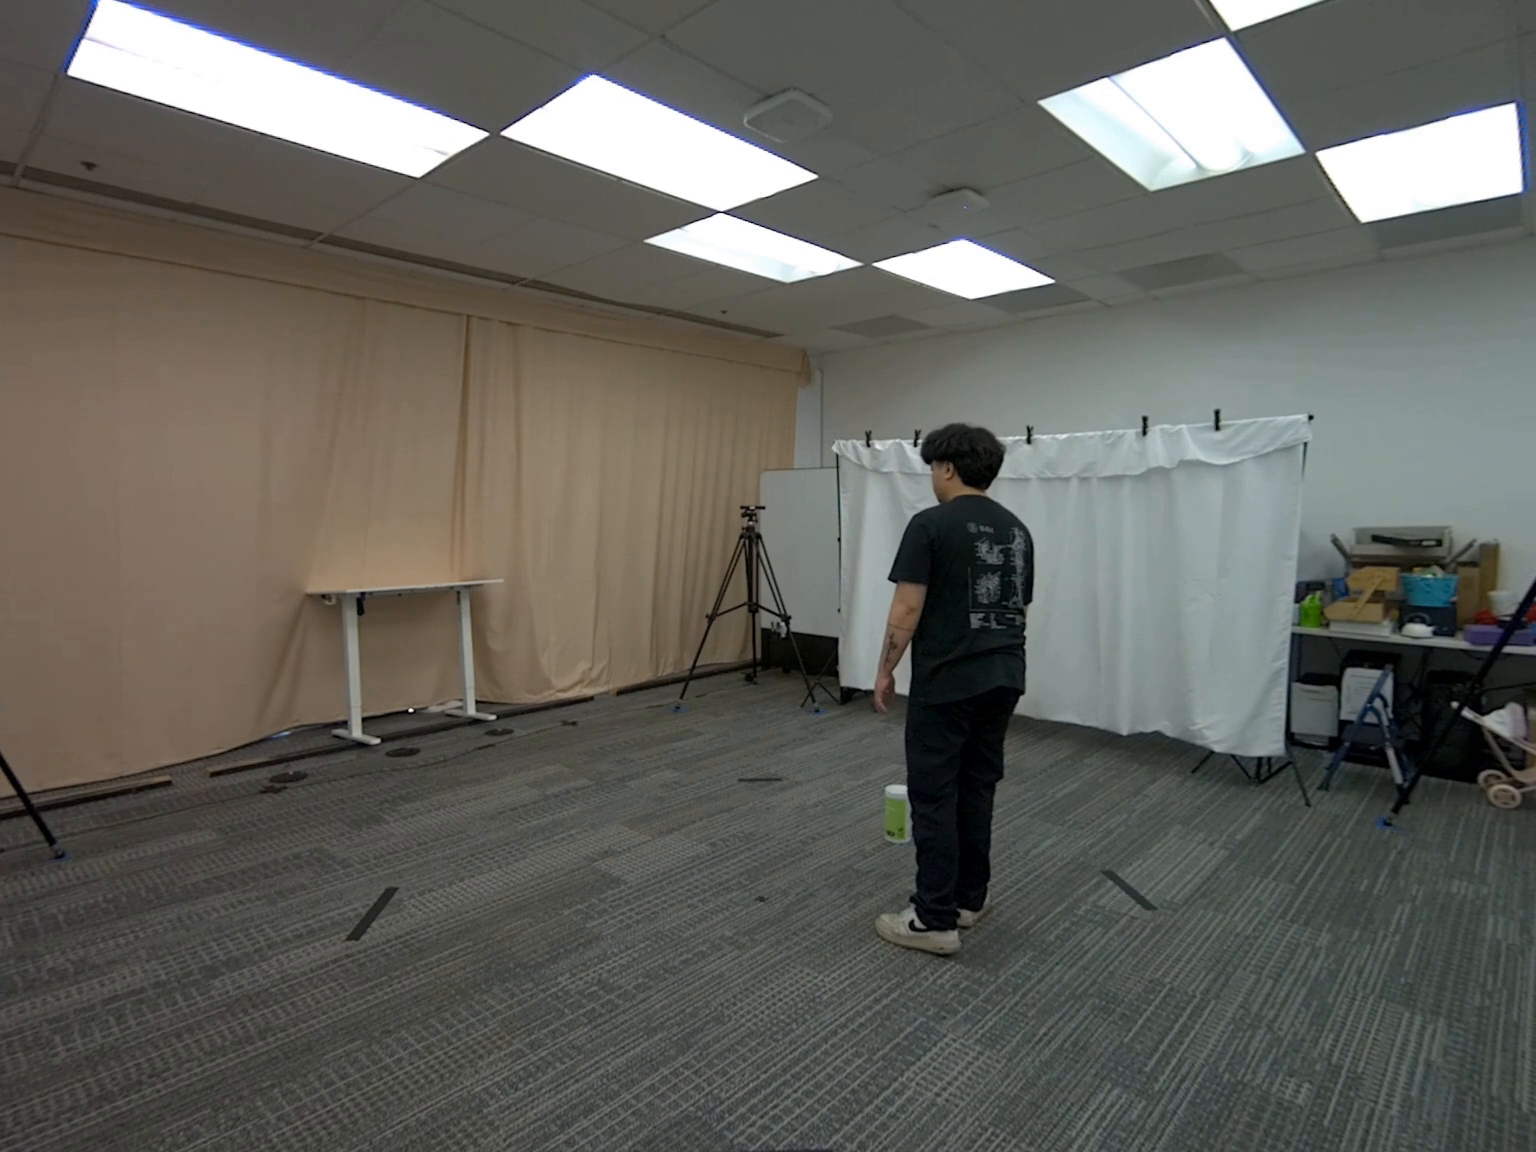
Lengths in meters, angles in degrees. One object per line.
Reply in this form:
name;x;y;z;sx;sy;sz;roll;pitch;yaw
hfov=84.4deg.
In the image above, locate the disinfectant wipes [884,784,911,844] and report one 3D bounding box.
disinfectant wipes;0.548;0.999;3.512;0.117;0.217;0.118;2;3;-2
